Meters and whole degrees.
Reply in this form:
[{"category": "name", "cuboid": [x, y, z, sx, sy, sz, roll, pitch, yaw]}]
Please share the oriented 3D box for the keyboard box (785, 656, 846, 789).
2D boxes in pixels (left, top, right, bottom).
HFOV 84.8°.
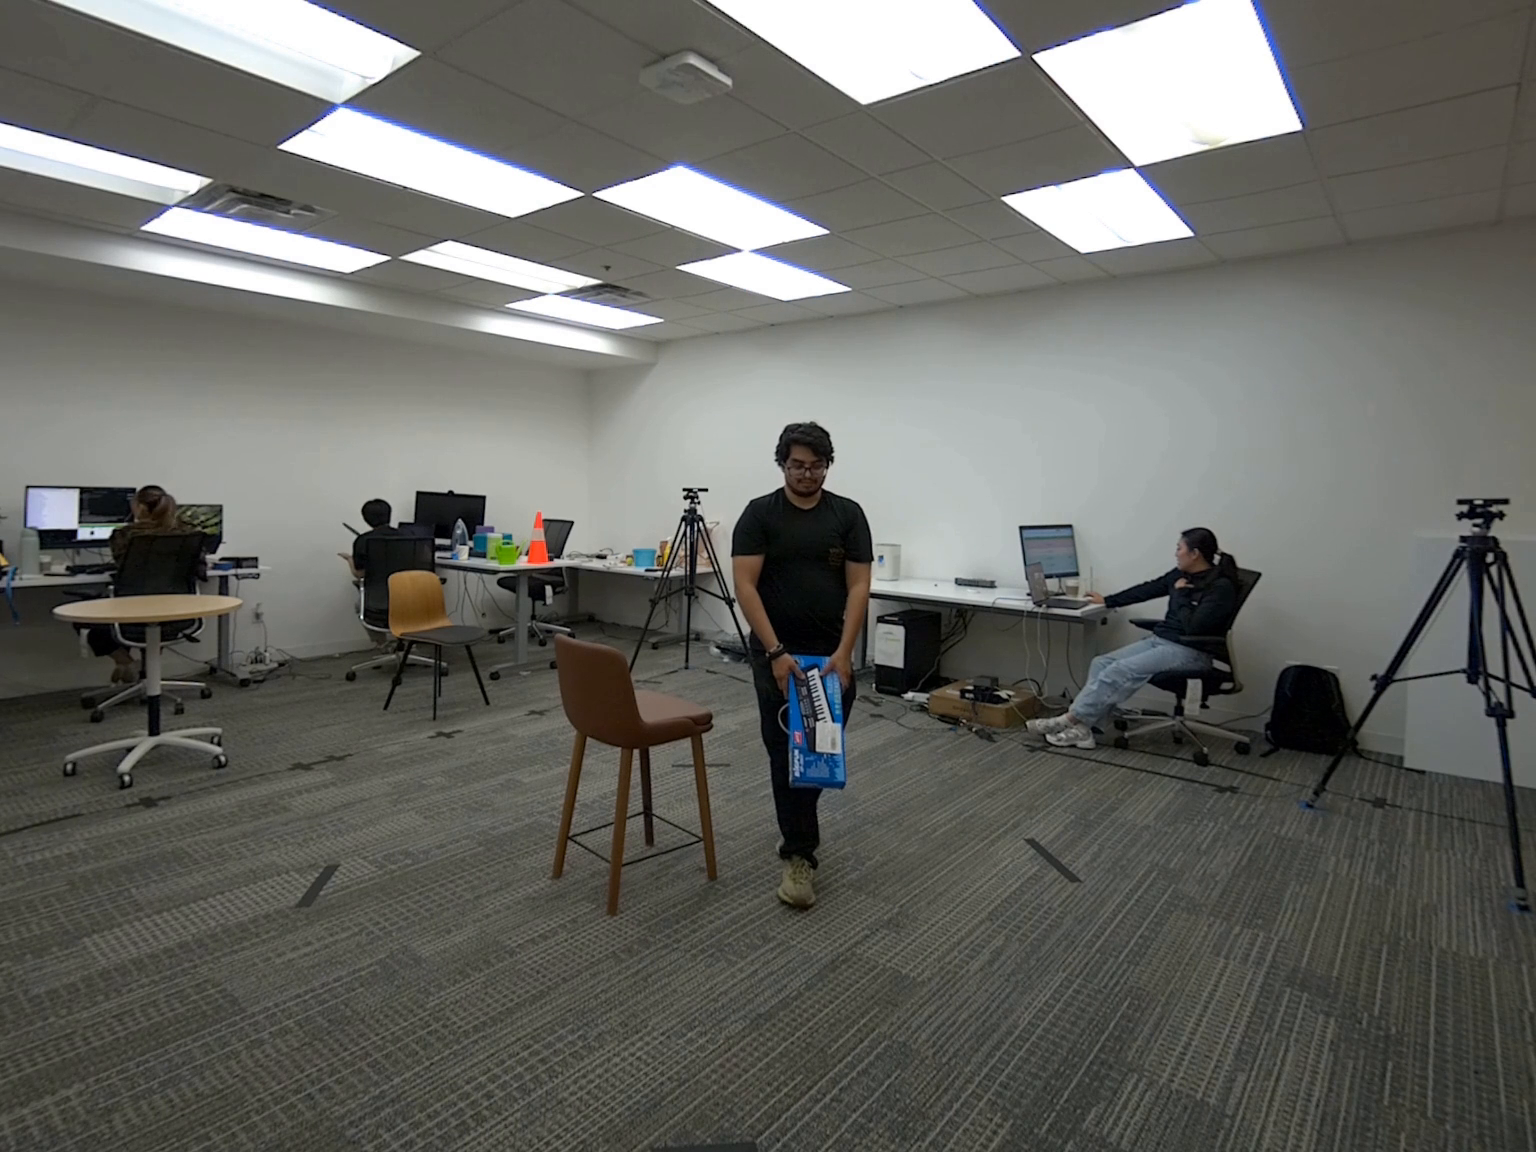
[{"category": "keyboard box", "cuboid": [0.153, 0.472, 2.777, 0.176, 0.448, 0.058, 4, -35, -1]}]
